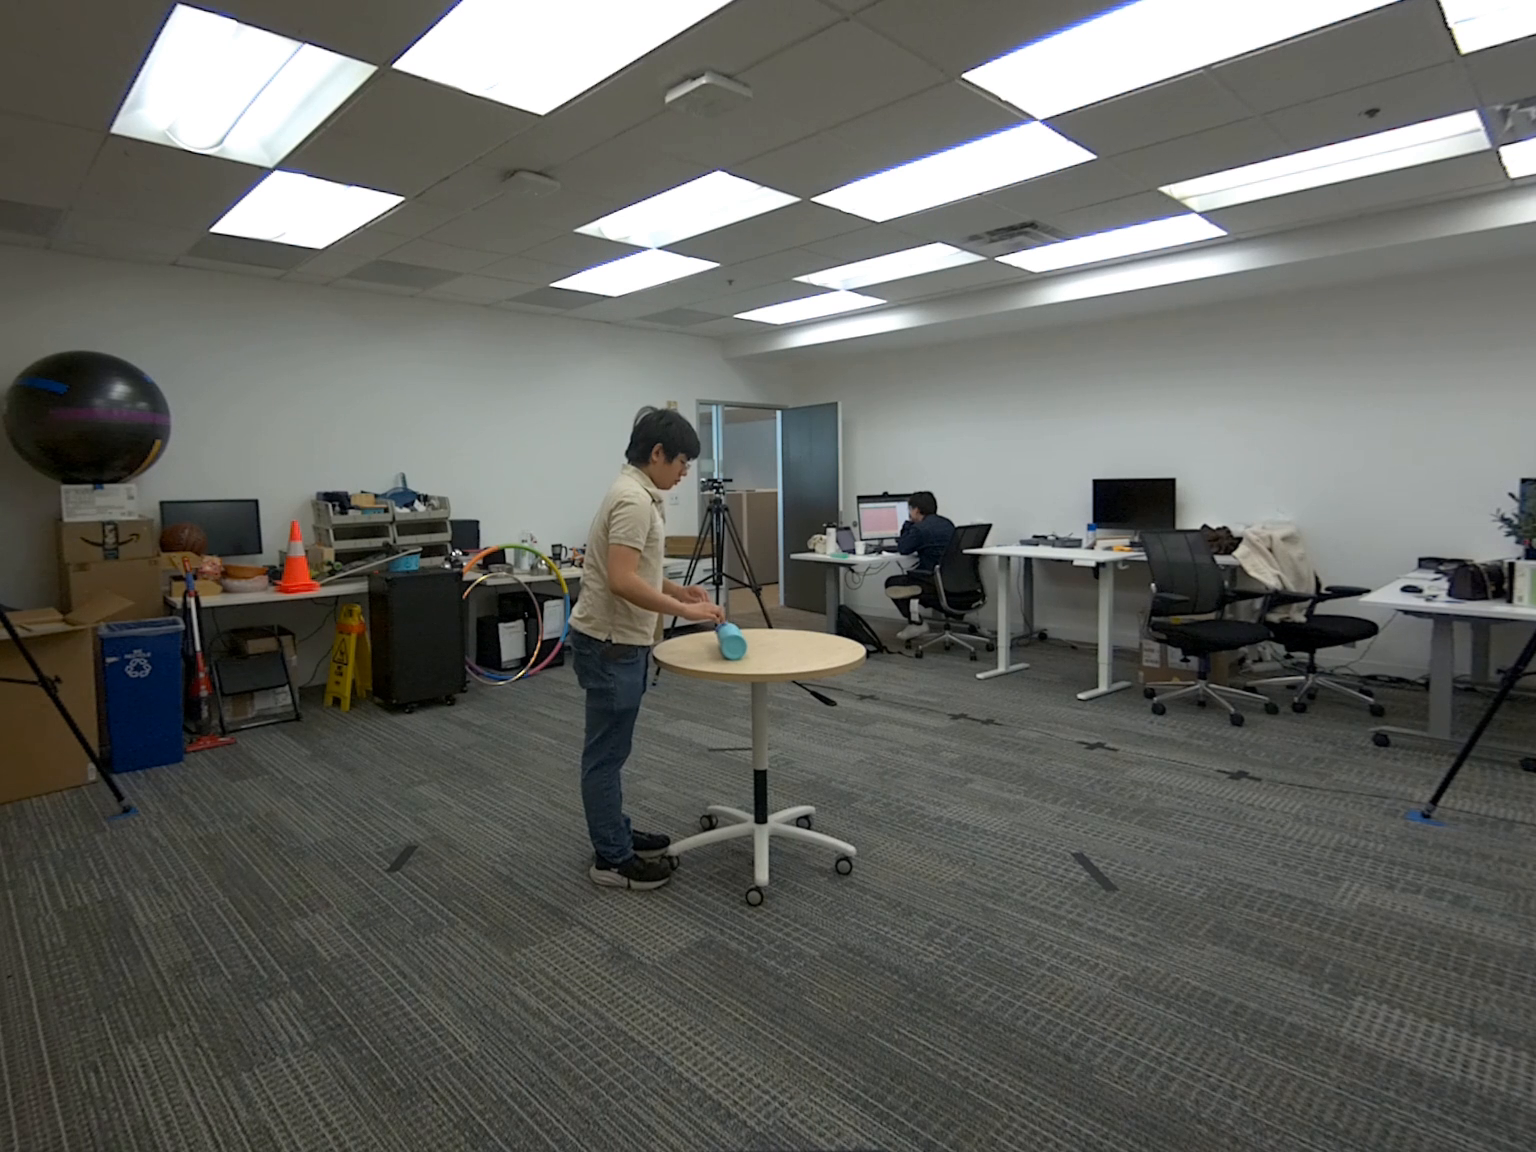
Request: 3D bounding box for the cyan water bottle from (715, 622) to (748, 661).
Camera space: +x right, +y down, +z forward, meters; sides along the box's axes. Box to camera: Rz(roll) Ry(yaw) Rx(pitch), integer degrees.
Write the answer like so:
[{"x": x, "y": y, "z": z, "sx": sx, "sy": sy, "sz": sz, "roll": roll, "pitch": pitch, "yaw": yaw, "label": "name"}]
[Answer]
[{"x": -0.135, "y": 0.221, "z": 3.037, "sx": 0.092, "sy": 0.092, "sz": 0.286, "roll": -2, "pitch": 6, "yaw": -6, "label": "cyan water bottle"}]
